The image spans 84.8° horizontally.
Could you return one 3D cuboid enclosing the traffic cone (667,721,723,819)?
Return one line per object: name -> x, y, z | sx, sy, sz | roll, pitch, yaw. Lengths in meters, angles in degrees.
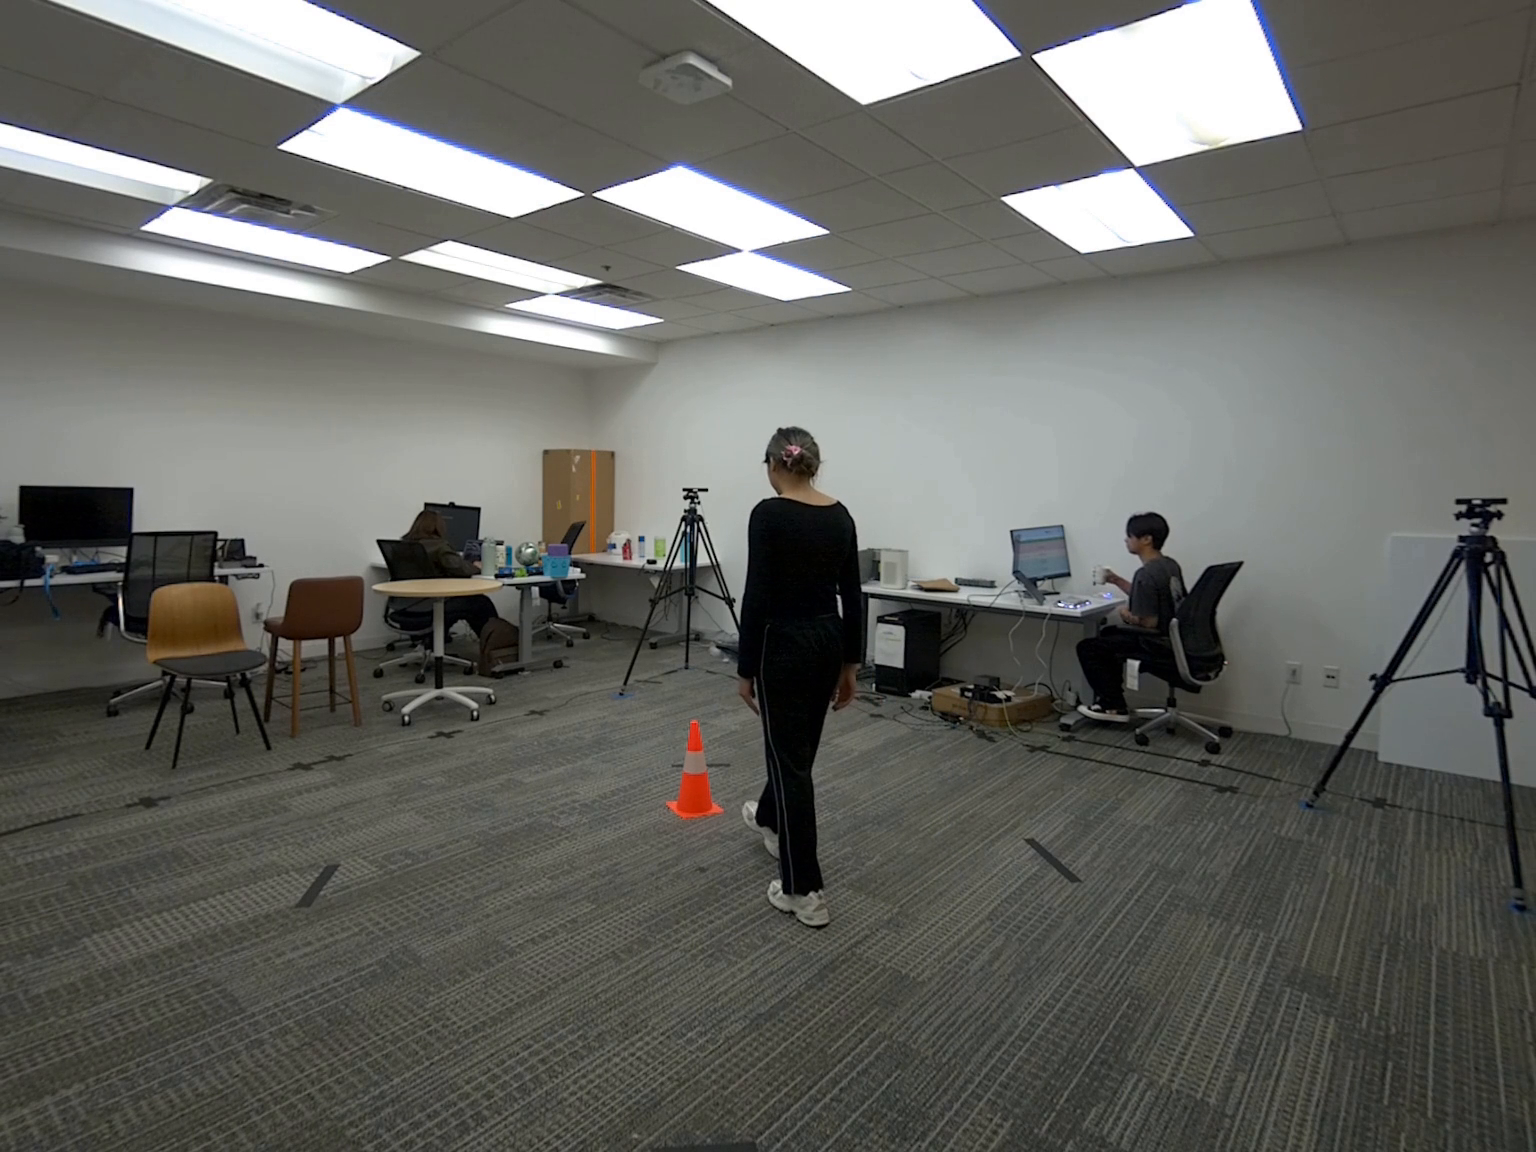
traffic cone -> -0.332, 0.825, 3.714 | 0.198, 0.383, 0.211 | -1, 2, -28
